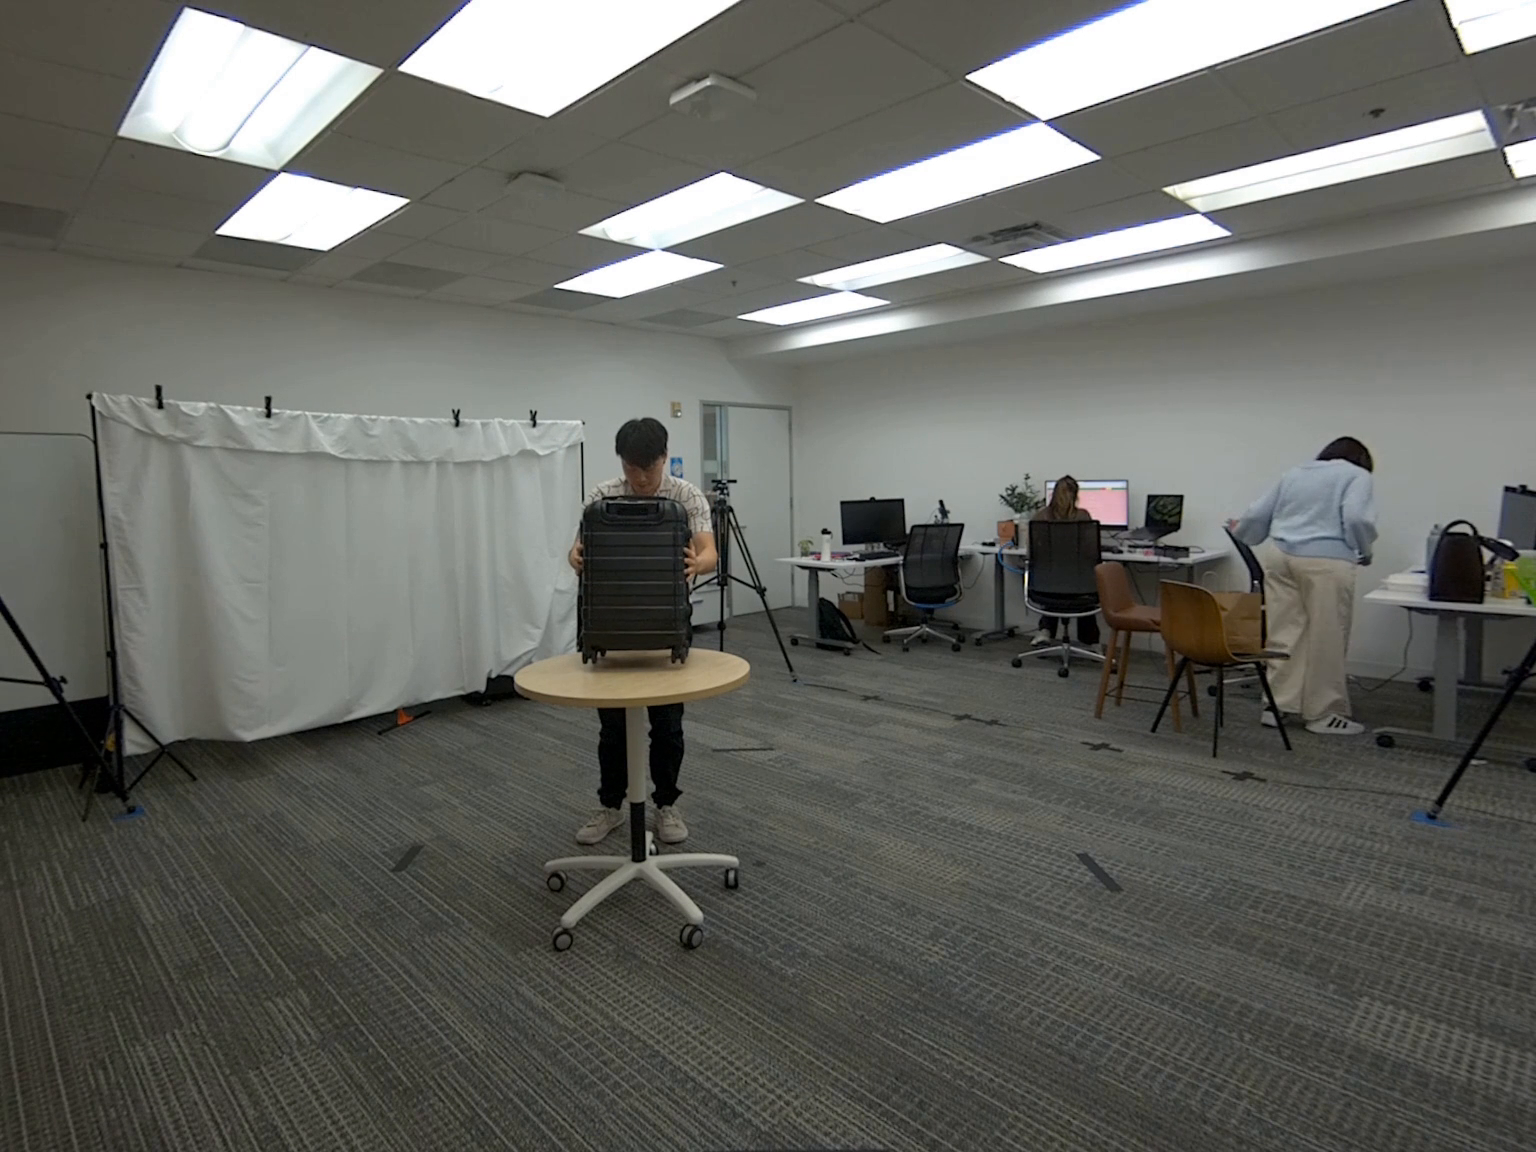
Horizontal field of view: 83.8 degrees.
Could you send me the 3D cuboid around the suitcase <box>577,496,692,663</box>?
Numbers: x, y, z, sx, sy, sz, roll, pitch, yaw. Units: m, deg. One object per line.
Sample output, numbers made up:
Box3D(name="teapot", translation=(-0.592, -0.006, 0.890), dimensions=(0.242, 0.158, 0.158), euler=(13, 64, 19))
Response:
Box3D(name="suitcase", translation=(-0.454, 0.007, 2.894), dimensions=(0.377, 0.549, 0.248), euler=(-1, 1, 3))
